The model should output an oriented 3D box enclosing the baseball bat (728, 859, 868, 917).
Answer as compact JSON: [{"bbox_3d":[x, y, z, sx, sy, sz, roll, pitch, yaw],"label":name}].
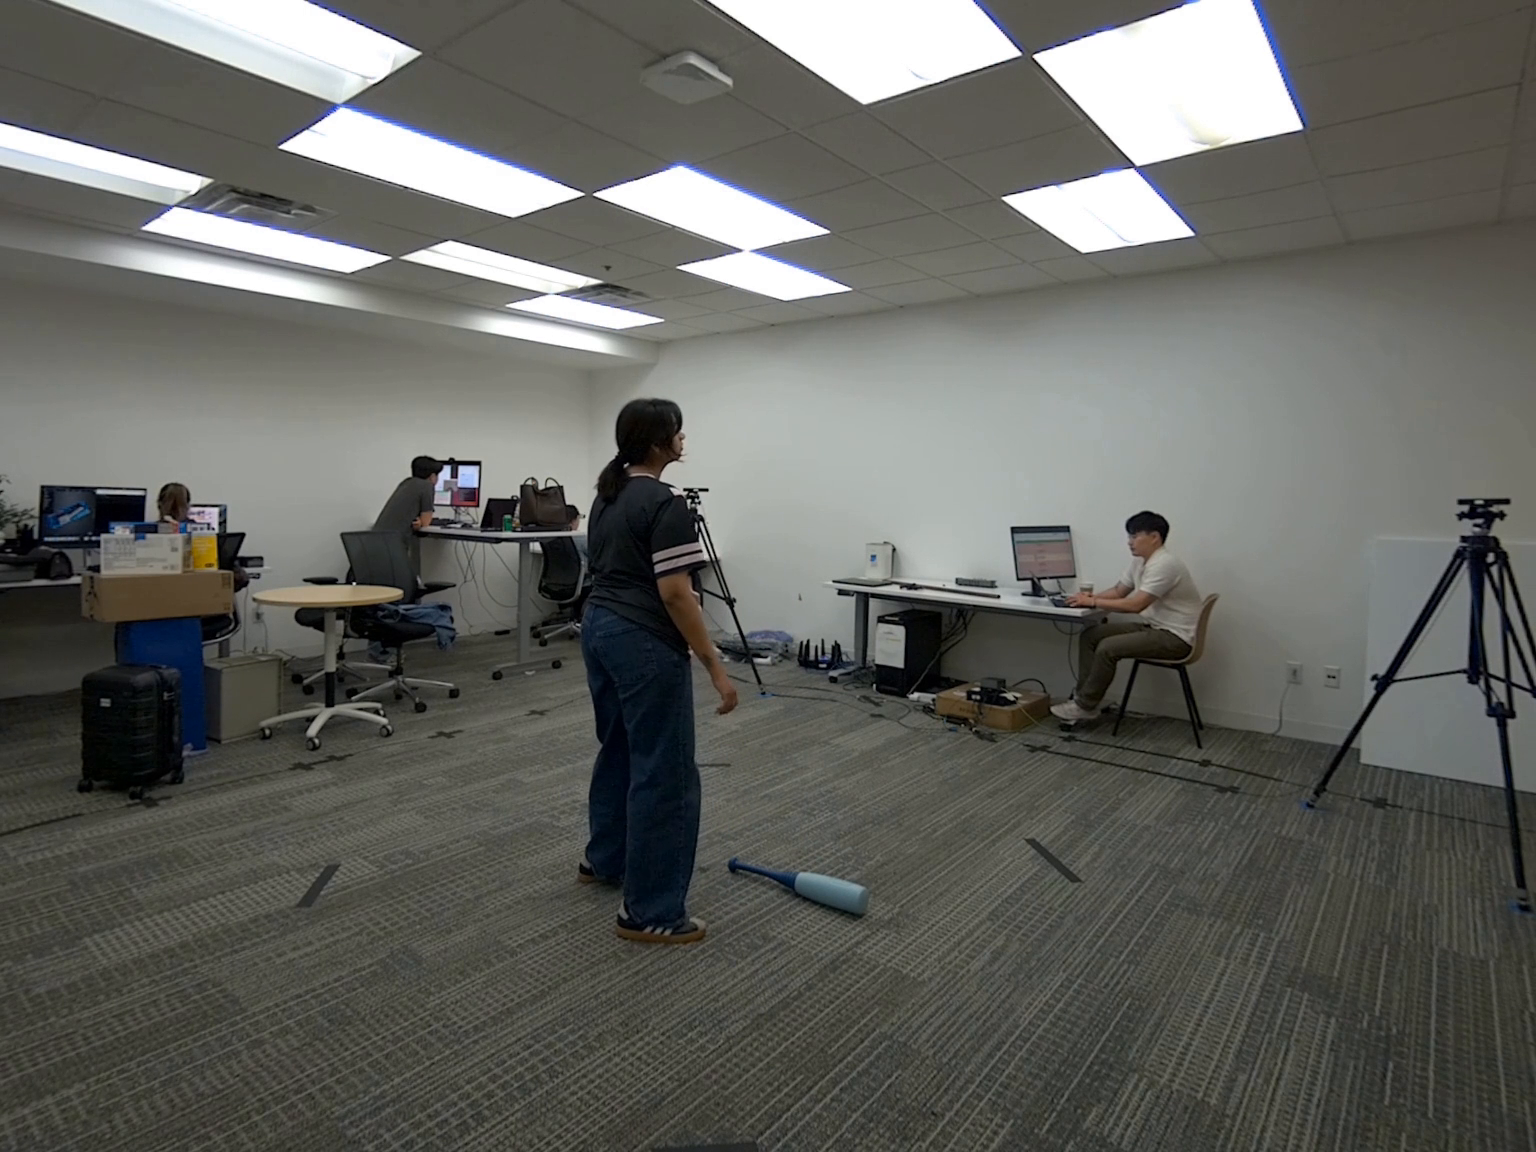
[{"bbox_3d":[0.086,1.057,2.941,0.560,0.089,0.086,2,4,36],"label":"baseball bat"}]
